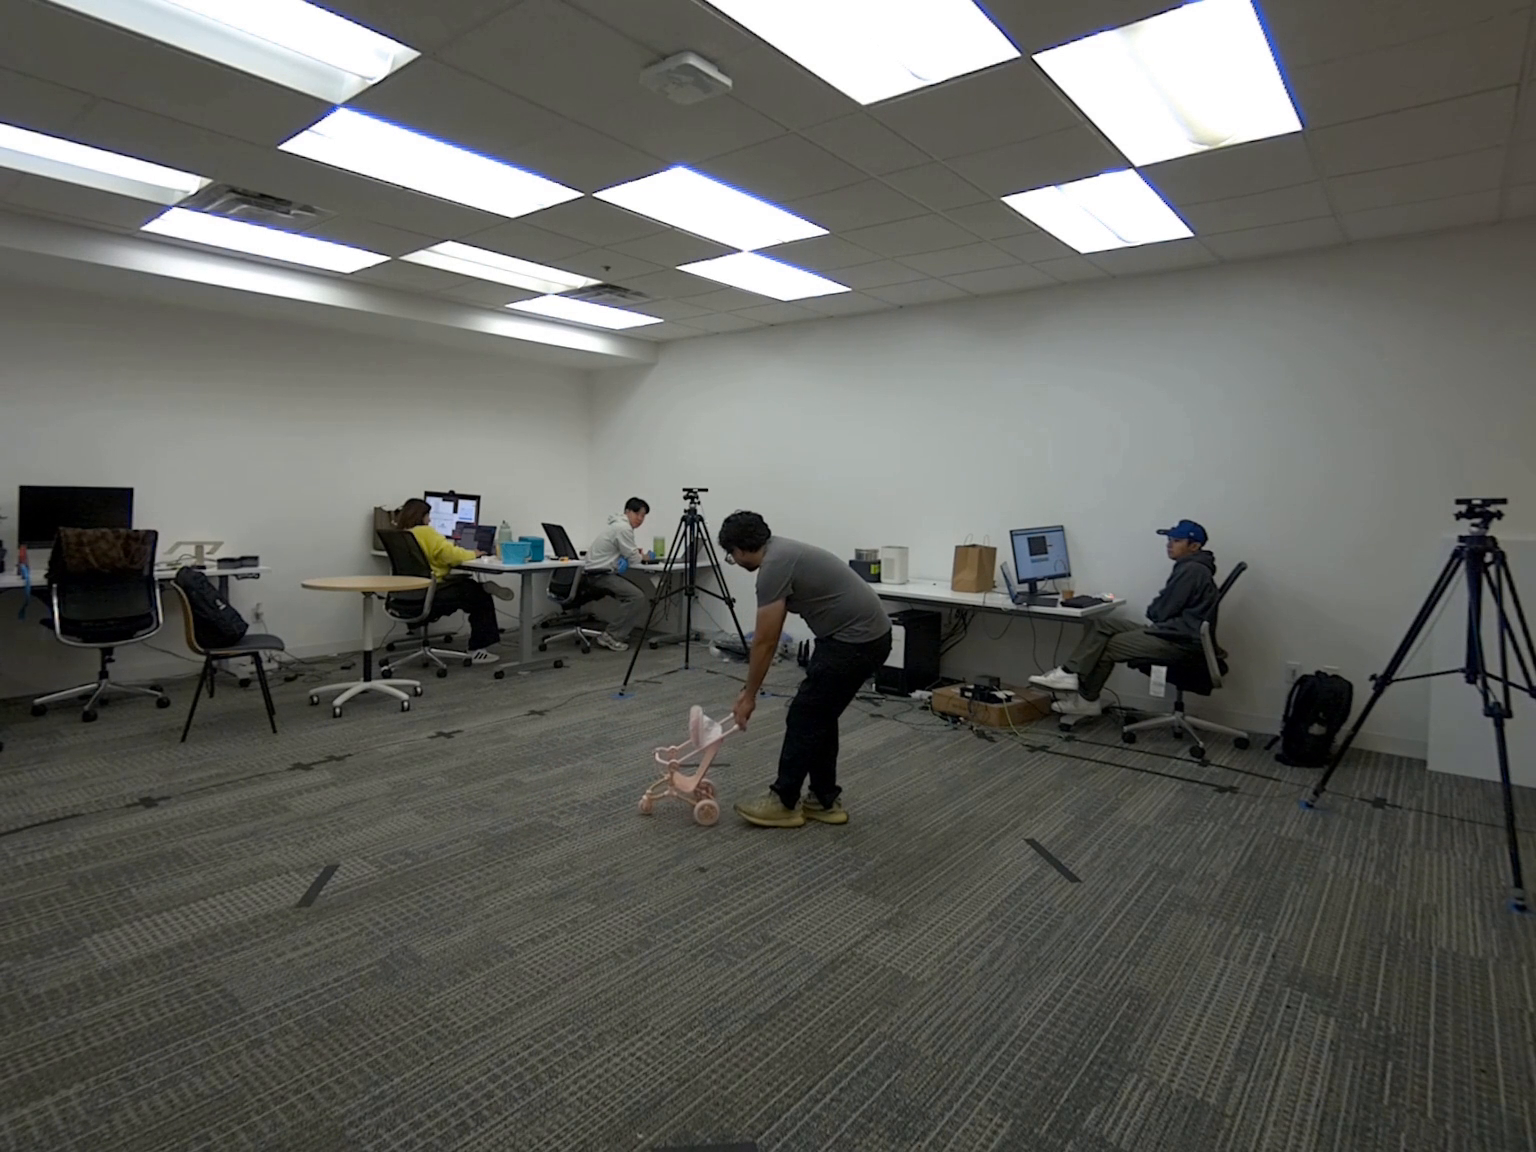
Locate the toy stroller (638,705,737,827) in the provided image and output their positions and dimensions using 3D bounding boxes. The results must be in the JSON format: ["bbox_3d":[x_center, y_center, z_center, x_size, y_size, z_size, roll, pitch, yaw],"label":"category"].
[{"bbox_3d":[-0.341,0.794,3.638,0.341,0.534,0.282,16,3,-2],"label":"toy stroller"}]
